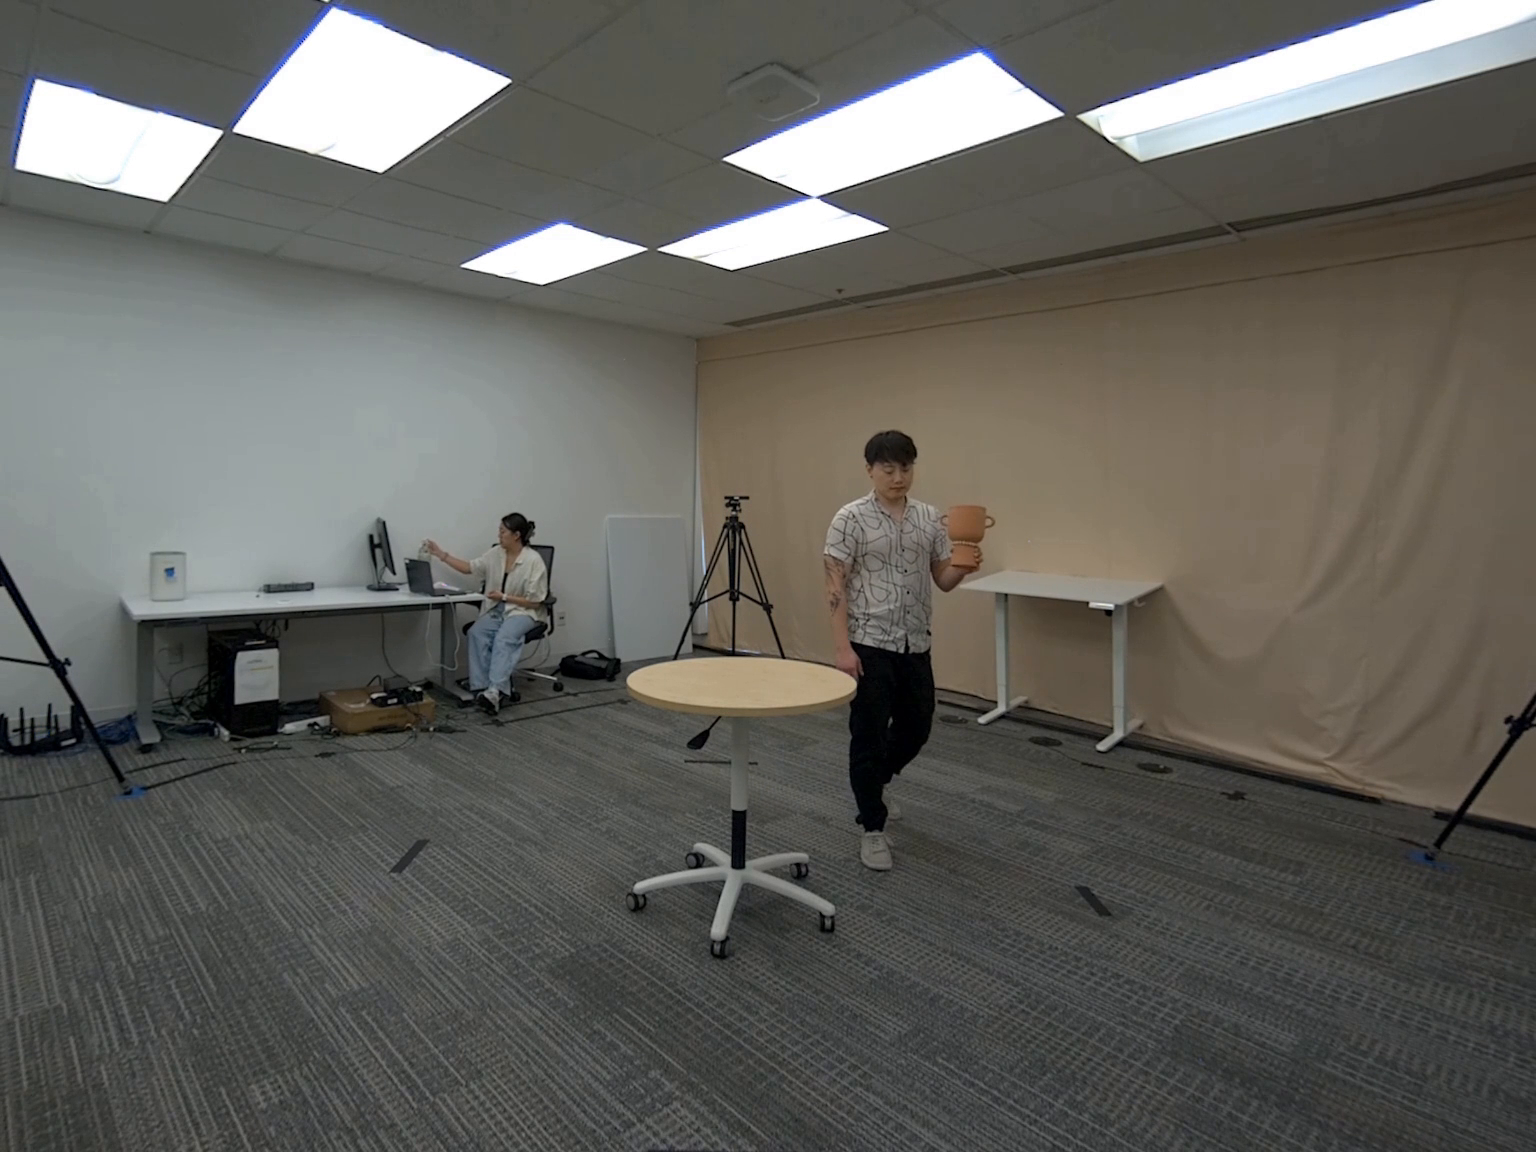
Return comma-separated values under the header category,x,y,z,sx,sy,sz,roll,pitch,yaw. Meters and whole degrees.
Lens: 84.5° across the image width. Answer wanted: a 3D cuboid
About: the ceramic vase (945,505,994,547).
category,x,y,z,sx,sy,sz,roll,pitch,yaw
ceramic vase,0.720,-0.145,3.106,0.131,0.220,0.162,8,-6,-29
